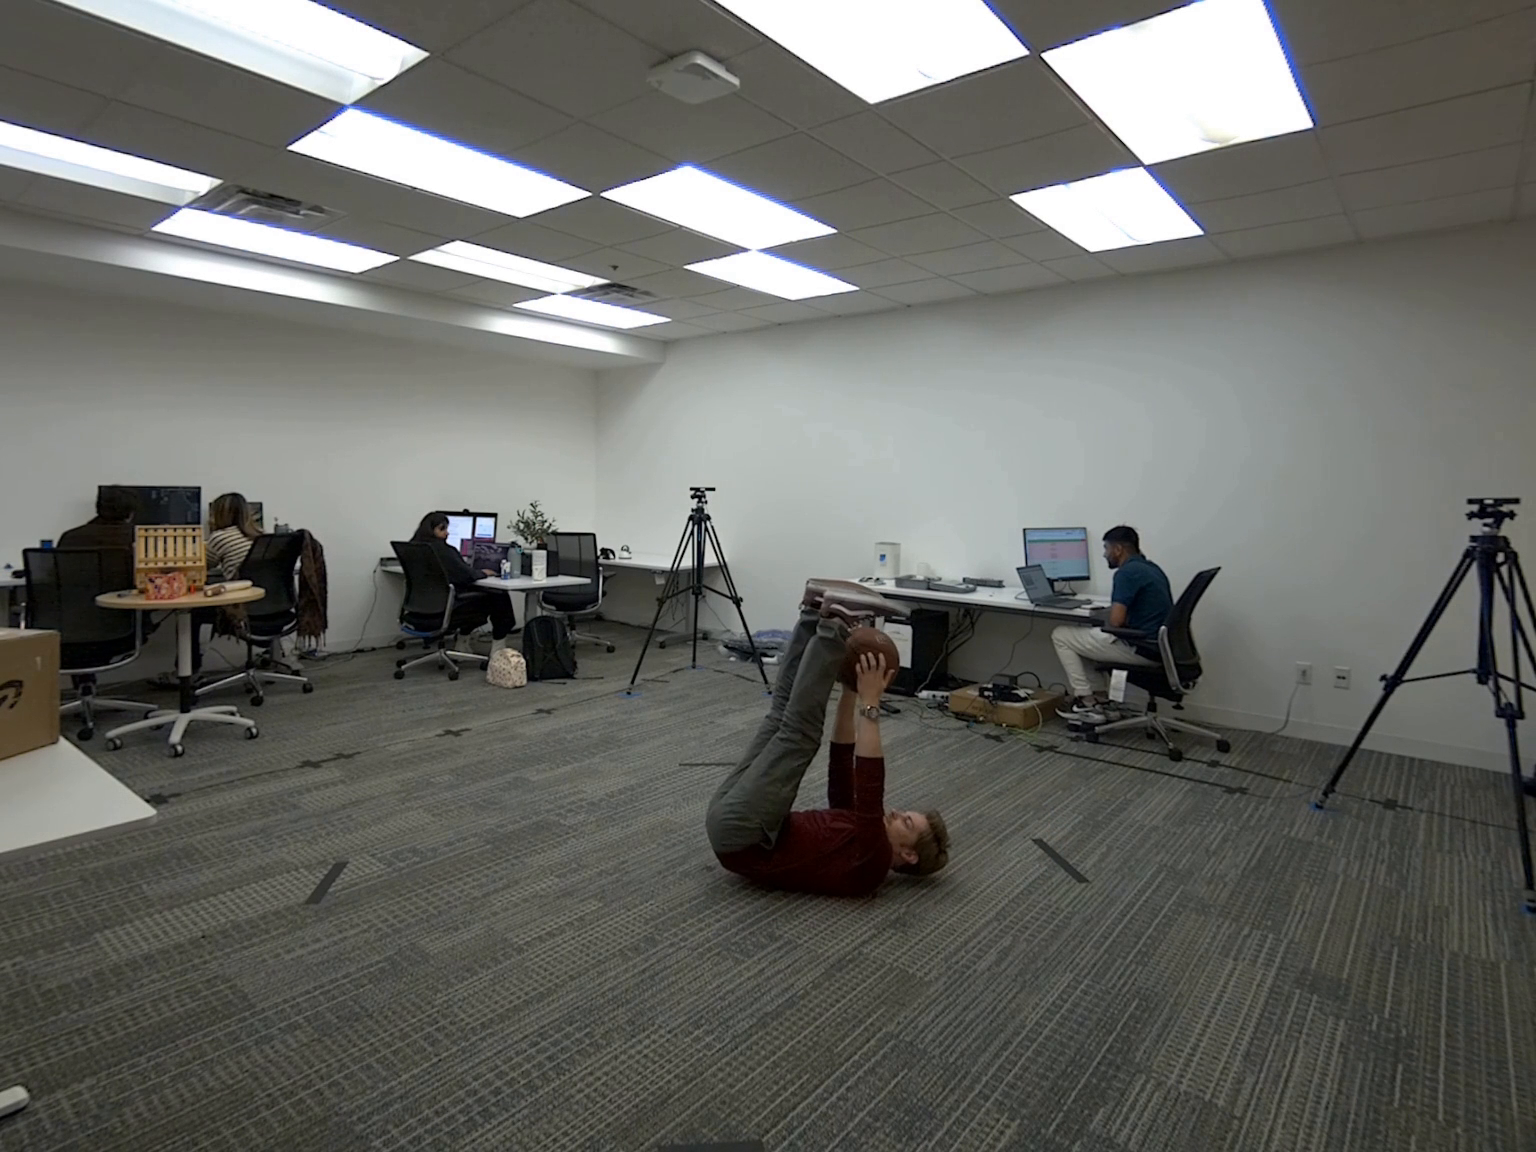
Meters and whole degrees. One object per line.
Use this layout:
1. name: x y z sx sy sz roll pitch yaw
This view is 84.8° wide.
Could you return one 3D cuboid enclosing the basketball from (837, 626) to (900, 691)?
1. basketball: 0.349 0.300 3.038 0.235 0.235 0.237 1 4 -2
